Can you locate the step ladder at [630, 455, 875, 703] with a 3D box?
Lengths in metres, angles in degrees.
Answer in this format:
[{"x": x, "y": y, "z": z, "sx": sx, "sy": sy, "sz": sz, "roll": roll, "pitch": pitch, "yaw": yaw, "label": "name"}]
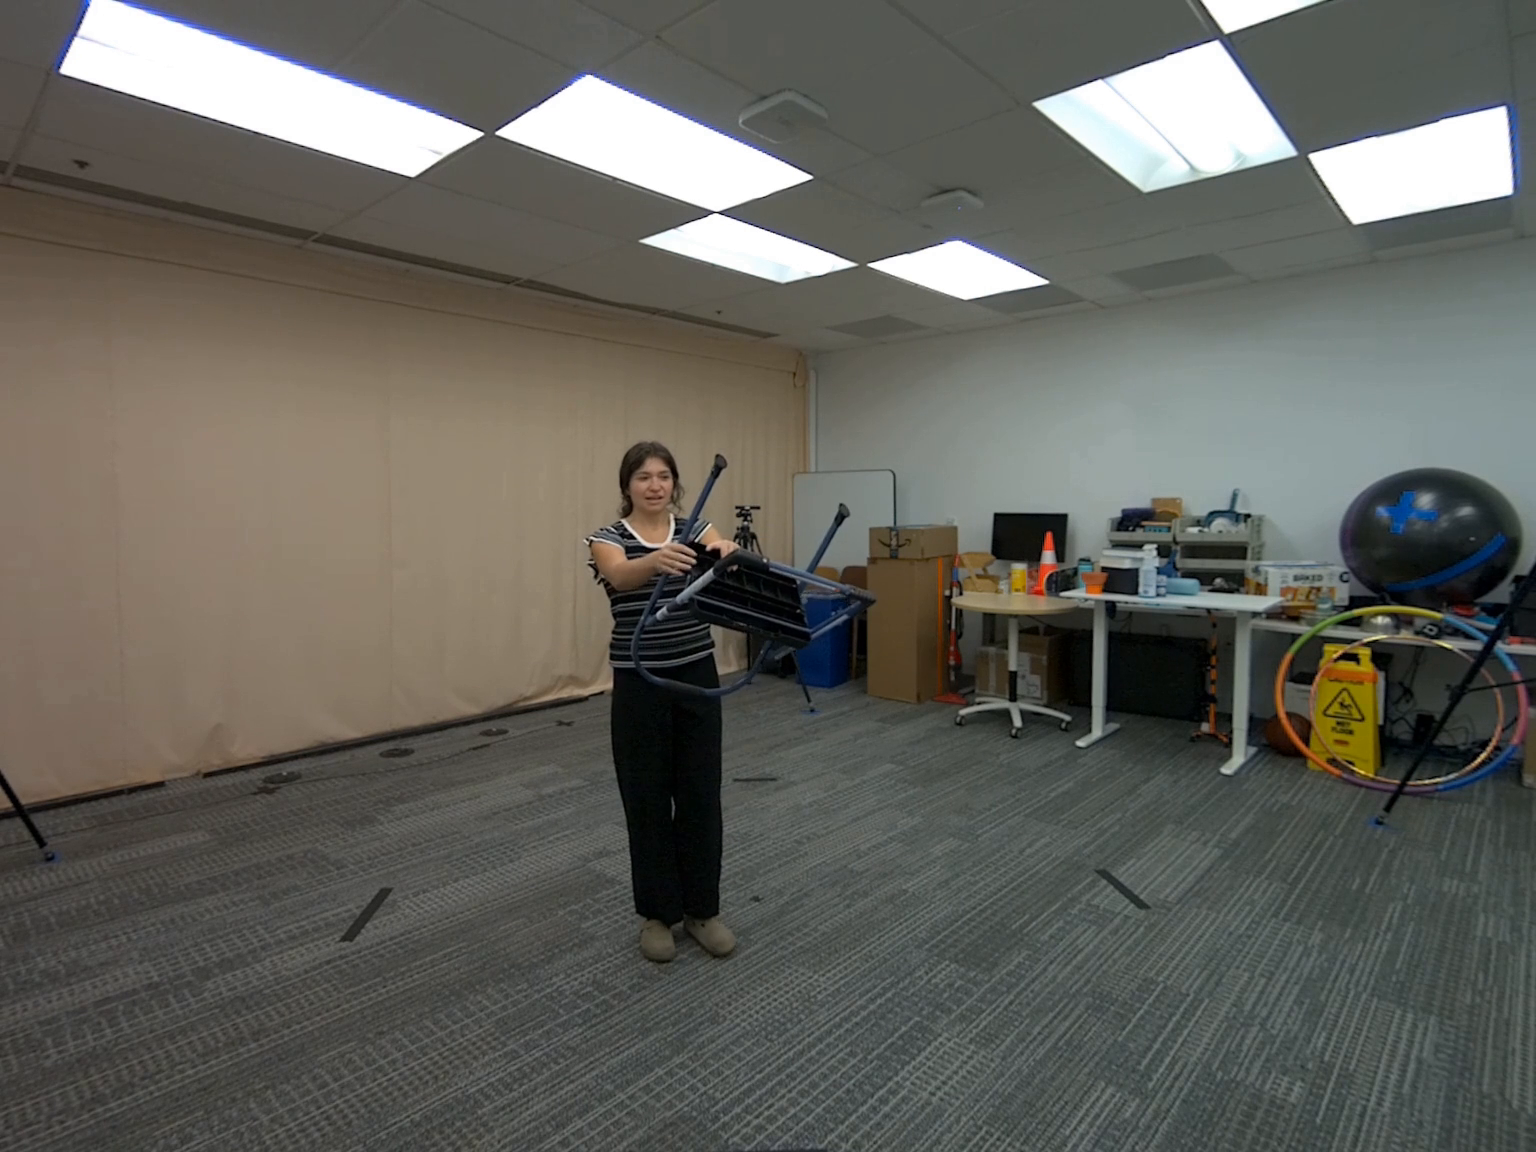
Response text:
[{"x": -0.088, "y": 0.073, "z": 2.245, "sx": 0.418, "sy": 0.358, "sz": 0.609, "roll": 19, "pitch": -51, "yaw": -28, "label": "step ladder"}]
